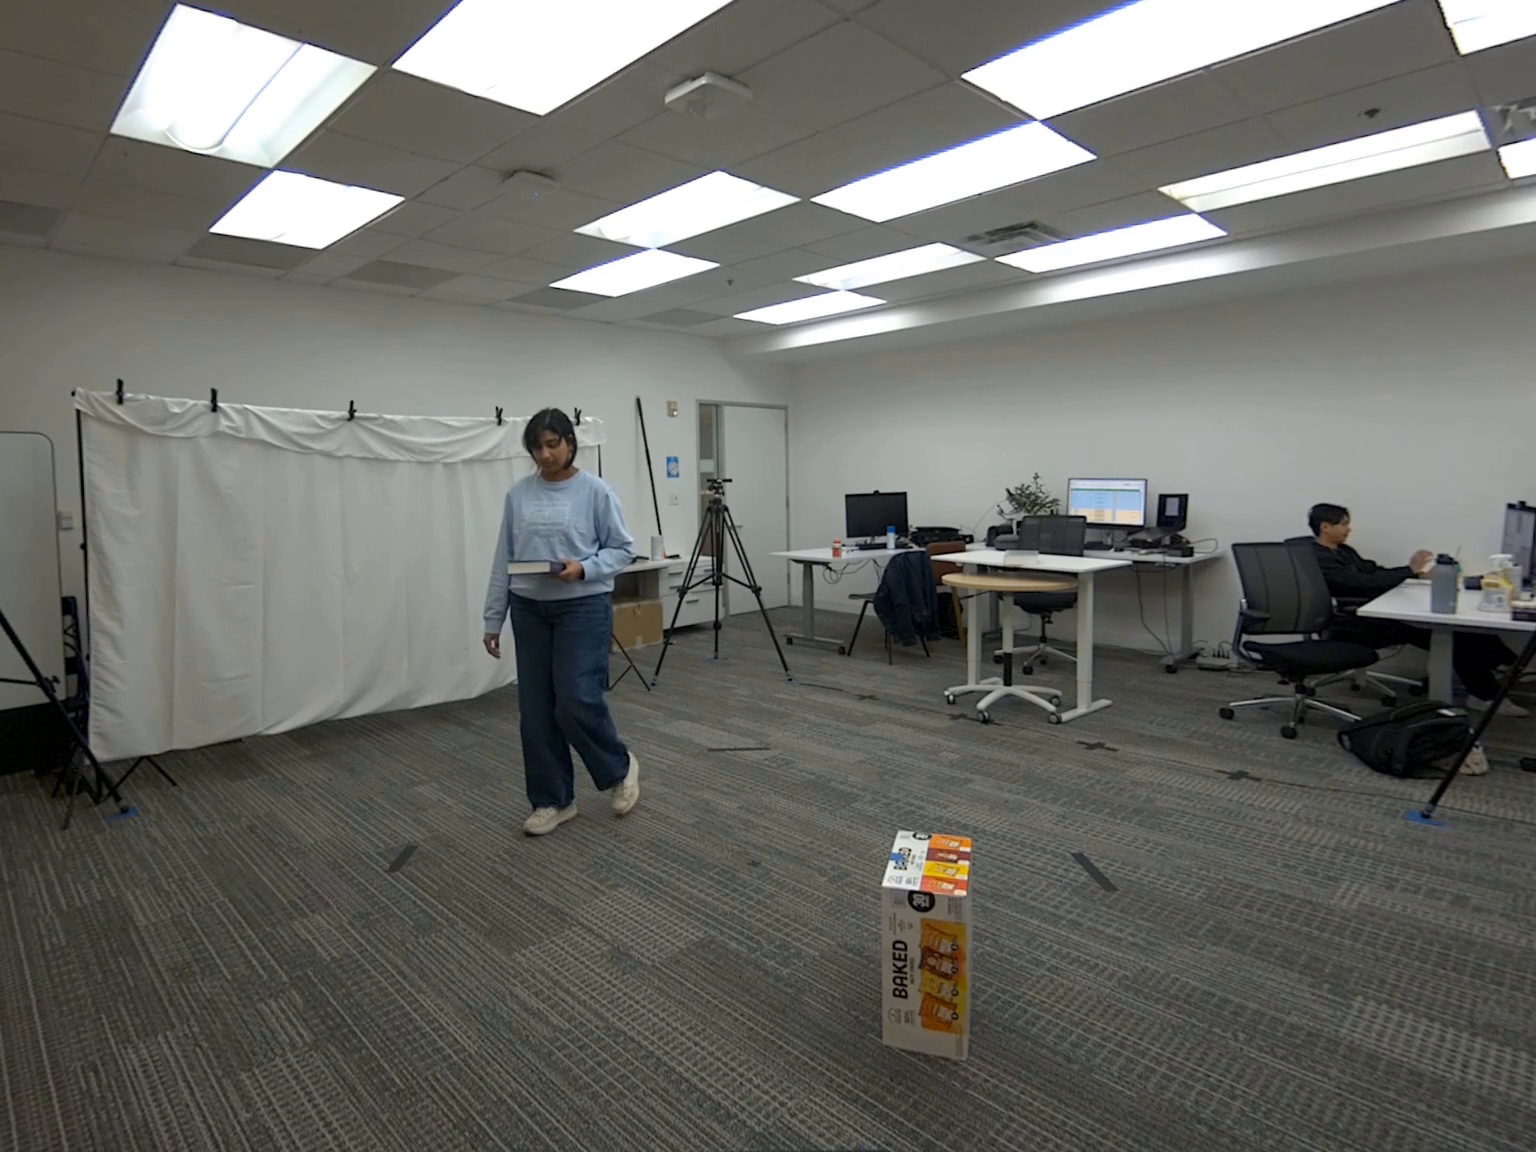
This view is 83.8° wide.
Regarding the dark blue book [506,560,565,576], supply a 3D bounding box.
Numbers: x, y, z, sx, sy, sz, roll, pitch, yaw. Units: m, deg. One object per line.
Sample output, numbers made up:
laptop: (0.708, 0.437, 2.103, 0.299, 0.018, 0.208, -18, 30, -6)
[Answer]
dark blue book: (-0.852, -0.027, 3.185, 0.163, 0.045, 0.245, -2, 1, -1)
